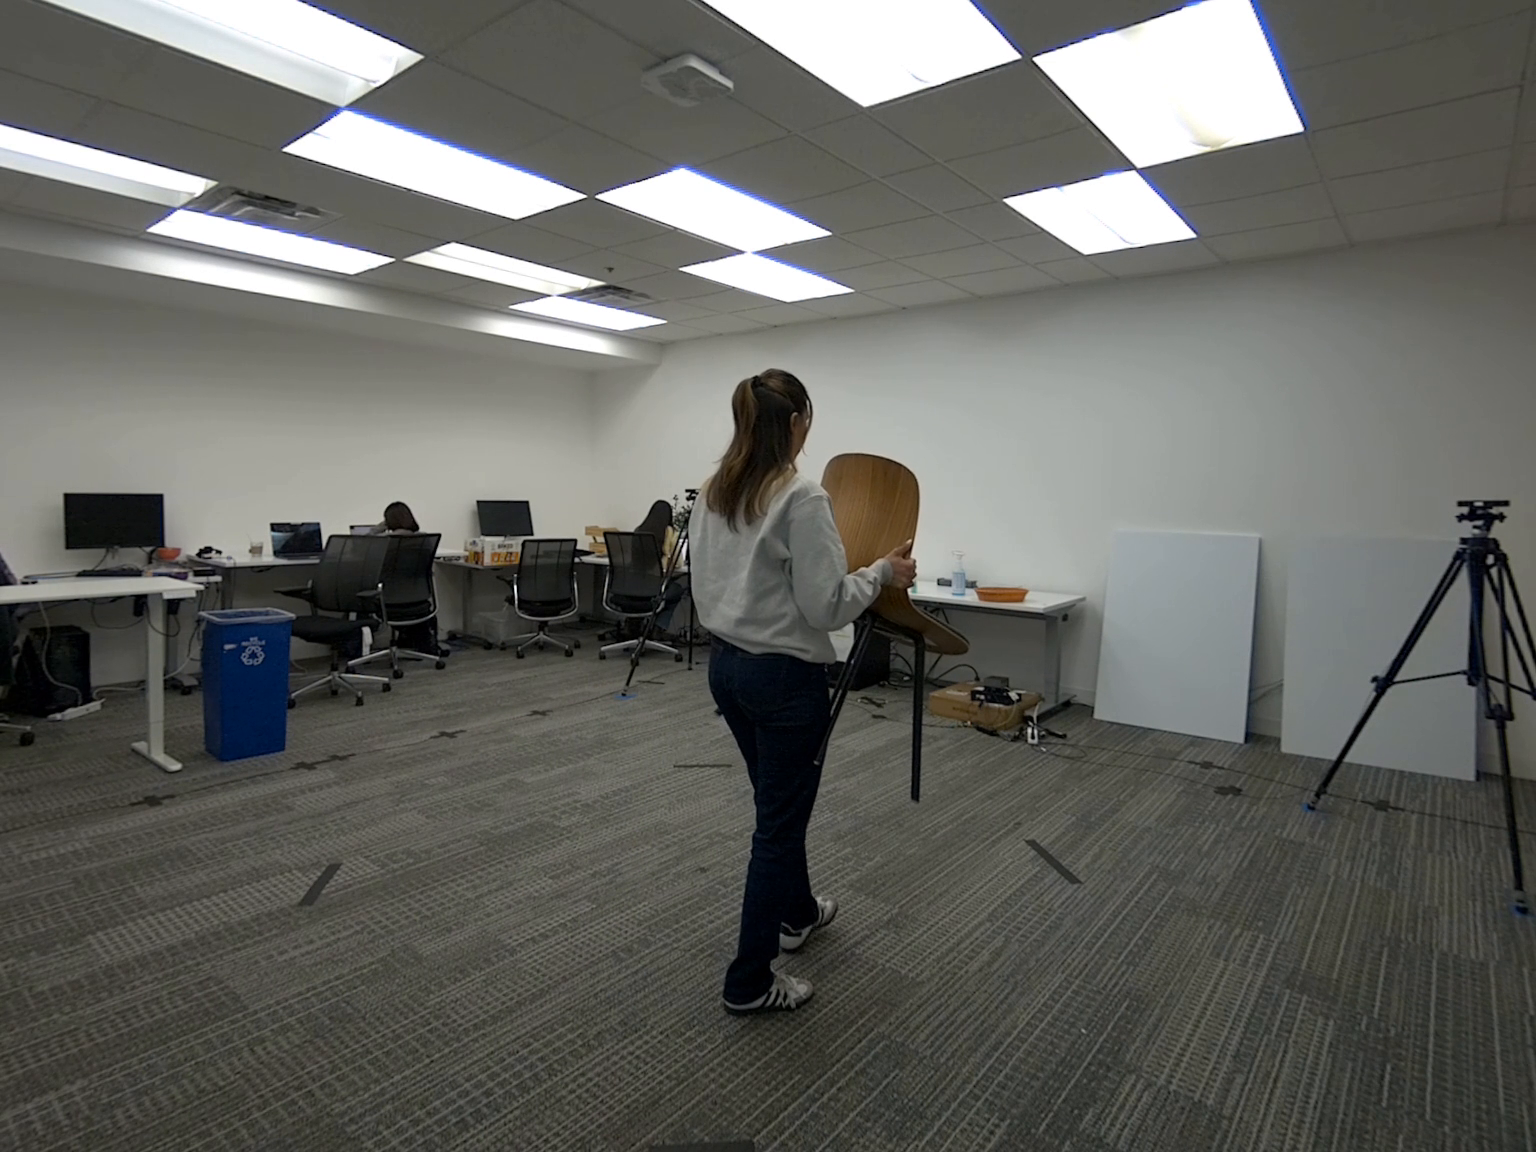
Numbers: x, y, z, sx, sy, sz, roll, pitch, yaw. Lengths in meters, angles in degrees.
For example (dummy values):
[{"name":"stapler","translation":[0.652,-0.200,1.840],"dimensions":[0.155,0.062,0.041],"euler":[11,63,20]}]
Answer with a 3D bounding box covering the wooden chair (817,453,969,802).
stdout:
[{"name":"wooden chair","translation":[0.291,0.137,2.549],"dimensions":[0.503,0.880,0.495],"euler":[23,-7,-38]}]
